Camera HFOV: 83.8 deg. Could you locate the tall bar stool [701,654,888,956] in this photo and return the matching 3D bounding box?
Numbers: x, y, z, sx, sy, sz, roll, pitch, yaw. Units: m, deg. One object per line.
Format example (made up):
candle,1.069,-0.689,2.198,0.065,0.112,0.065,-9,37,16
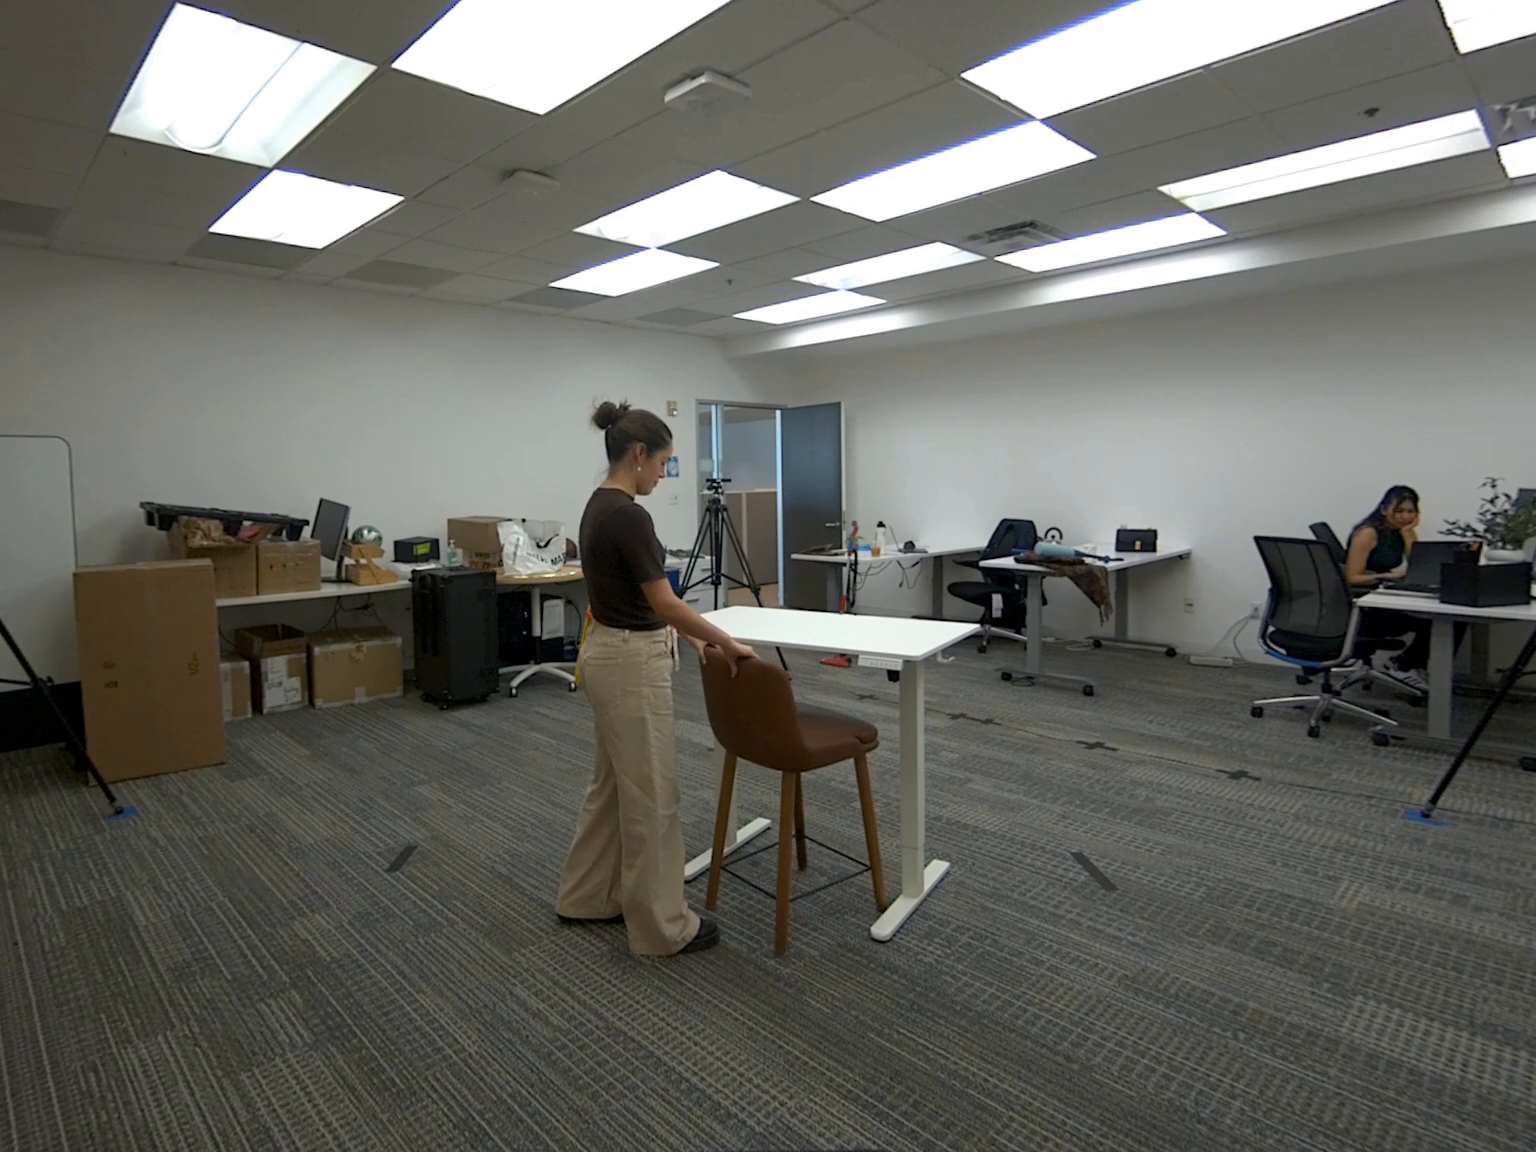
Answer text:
tall bar stool,0.070,0.649,2.737,0.456,0.885,0.470,-6,8,-38
